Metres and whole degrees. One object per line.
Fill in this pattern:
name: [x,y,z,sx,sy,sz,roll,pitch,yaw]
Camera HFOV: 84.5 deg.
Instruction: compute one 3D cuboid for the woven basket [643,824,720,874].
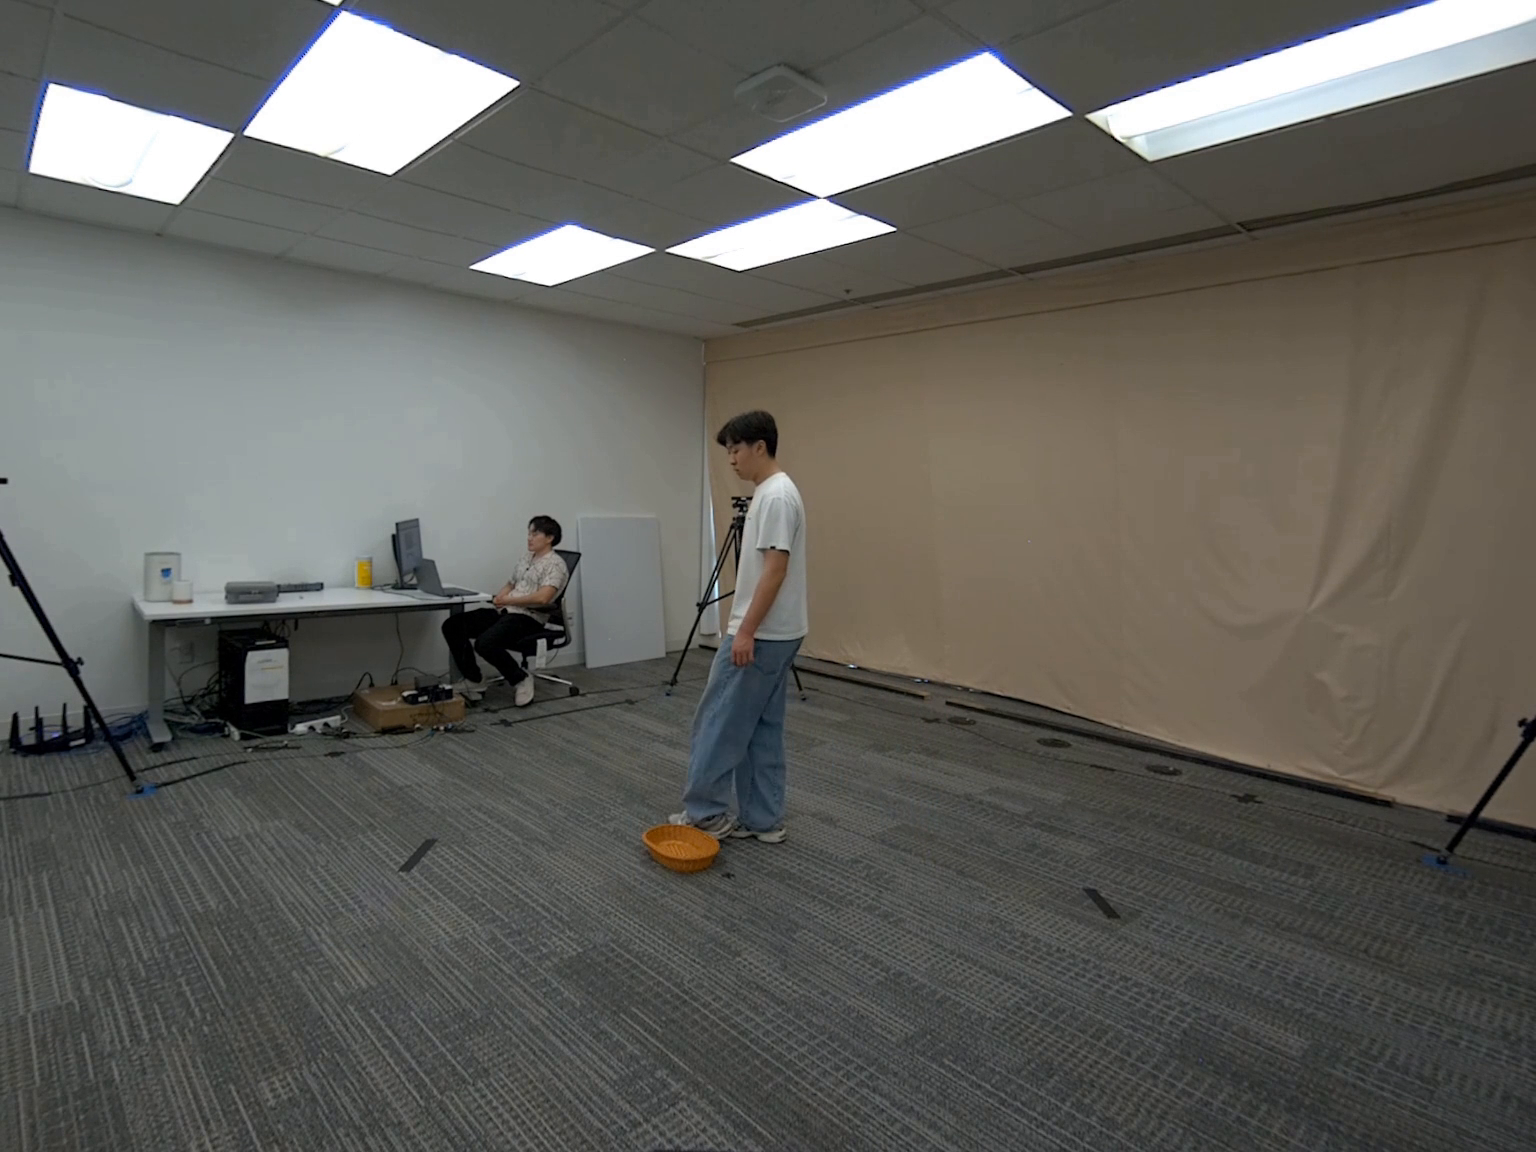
woven basket: [-0.345,1.049,3.232,0.247,0.073,0.359,-2,6,-34]
